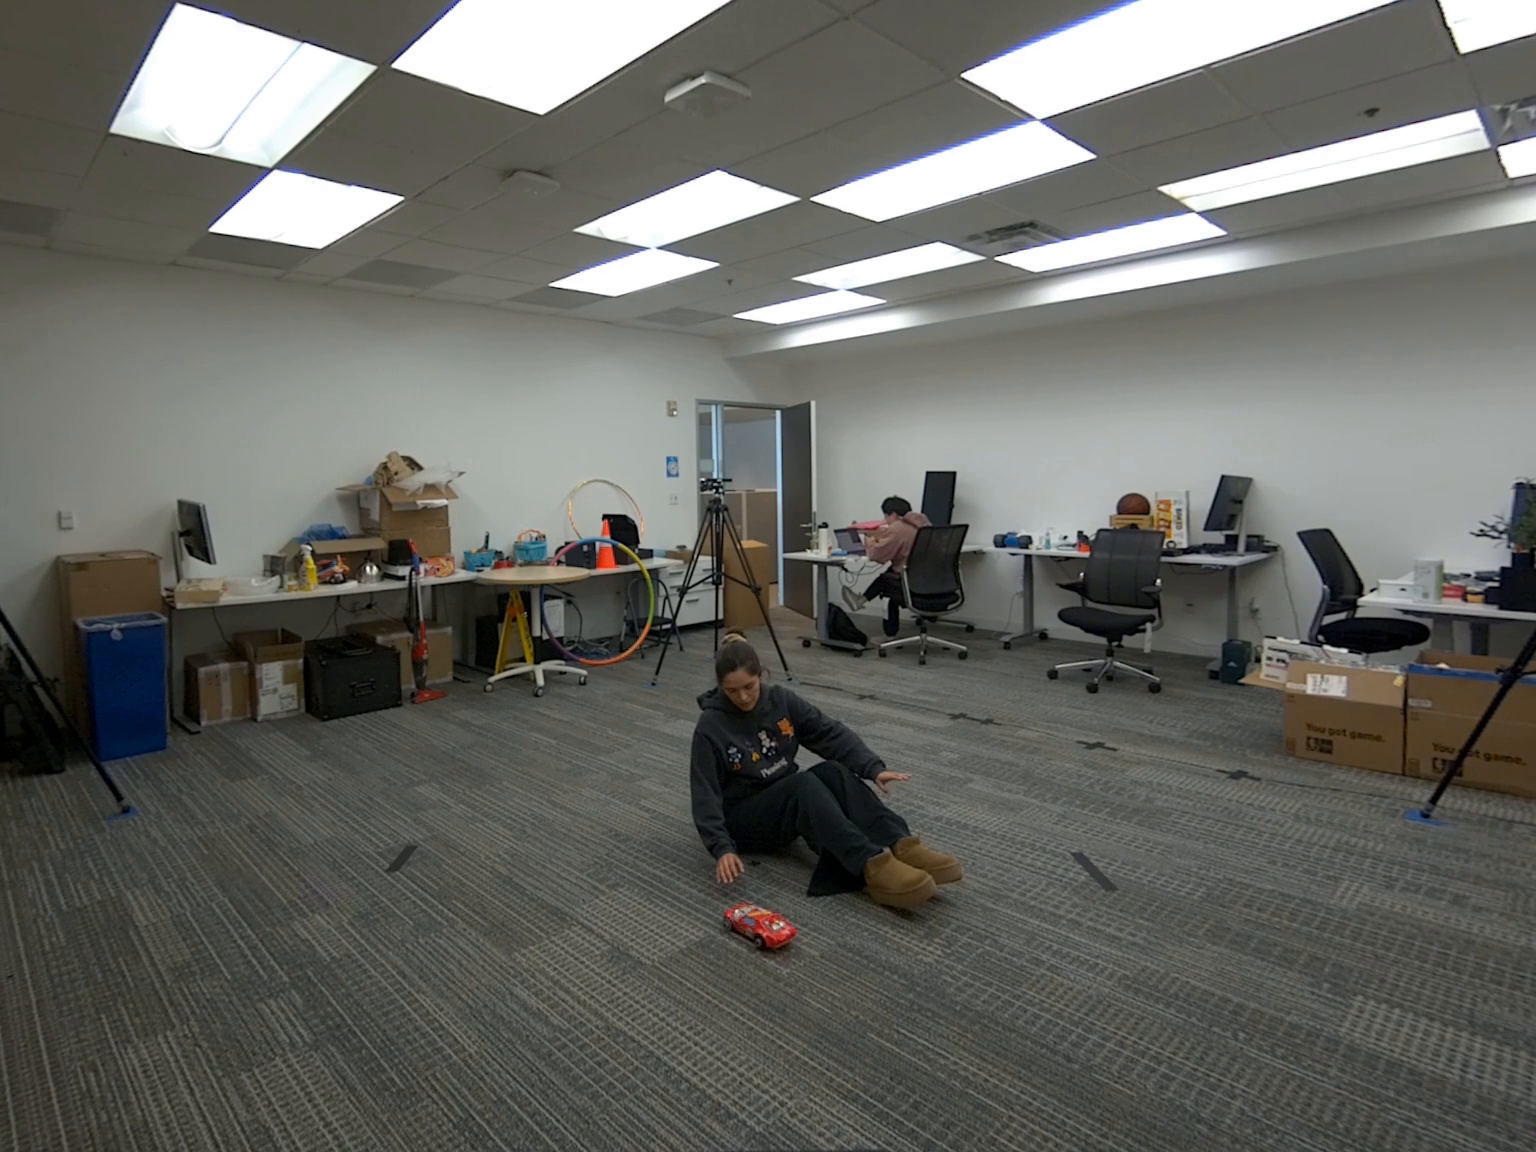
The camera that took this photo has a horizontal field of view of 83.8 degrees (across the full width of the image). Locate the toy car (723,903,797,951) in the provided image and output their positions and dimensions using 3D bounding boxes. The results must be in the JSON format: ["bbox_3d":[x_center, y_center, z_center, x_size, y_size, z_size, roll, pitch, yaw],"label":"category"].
[{"bbox_3d":[-0.019,1.073,2.590,0.127,0.083,0.260,-7,-2,-42],"label":"toy car"}]
